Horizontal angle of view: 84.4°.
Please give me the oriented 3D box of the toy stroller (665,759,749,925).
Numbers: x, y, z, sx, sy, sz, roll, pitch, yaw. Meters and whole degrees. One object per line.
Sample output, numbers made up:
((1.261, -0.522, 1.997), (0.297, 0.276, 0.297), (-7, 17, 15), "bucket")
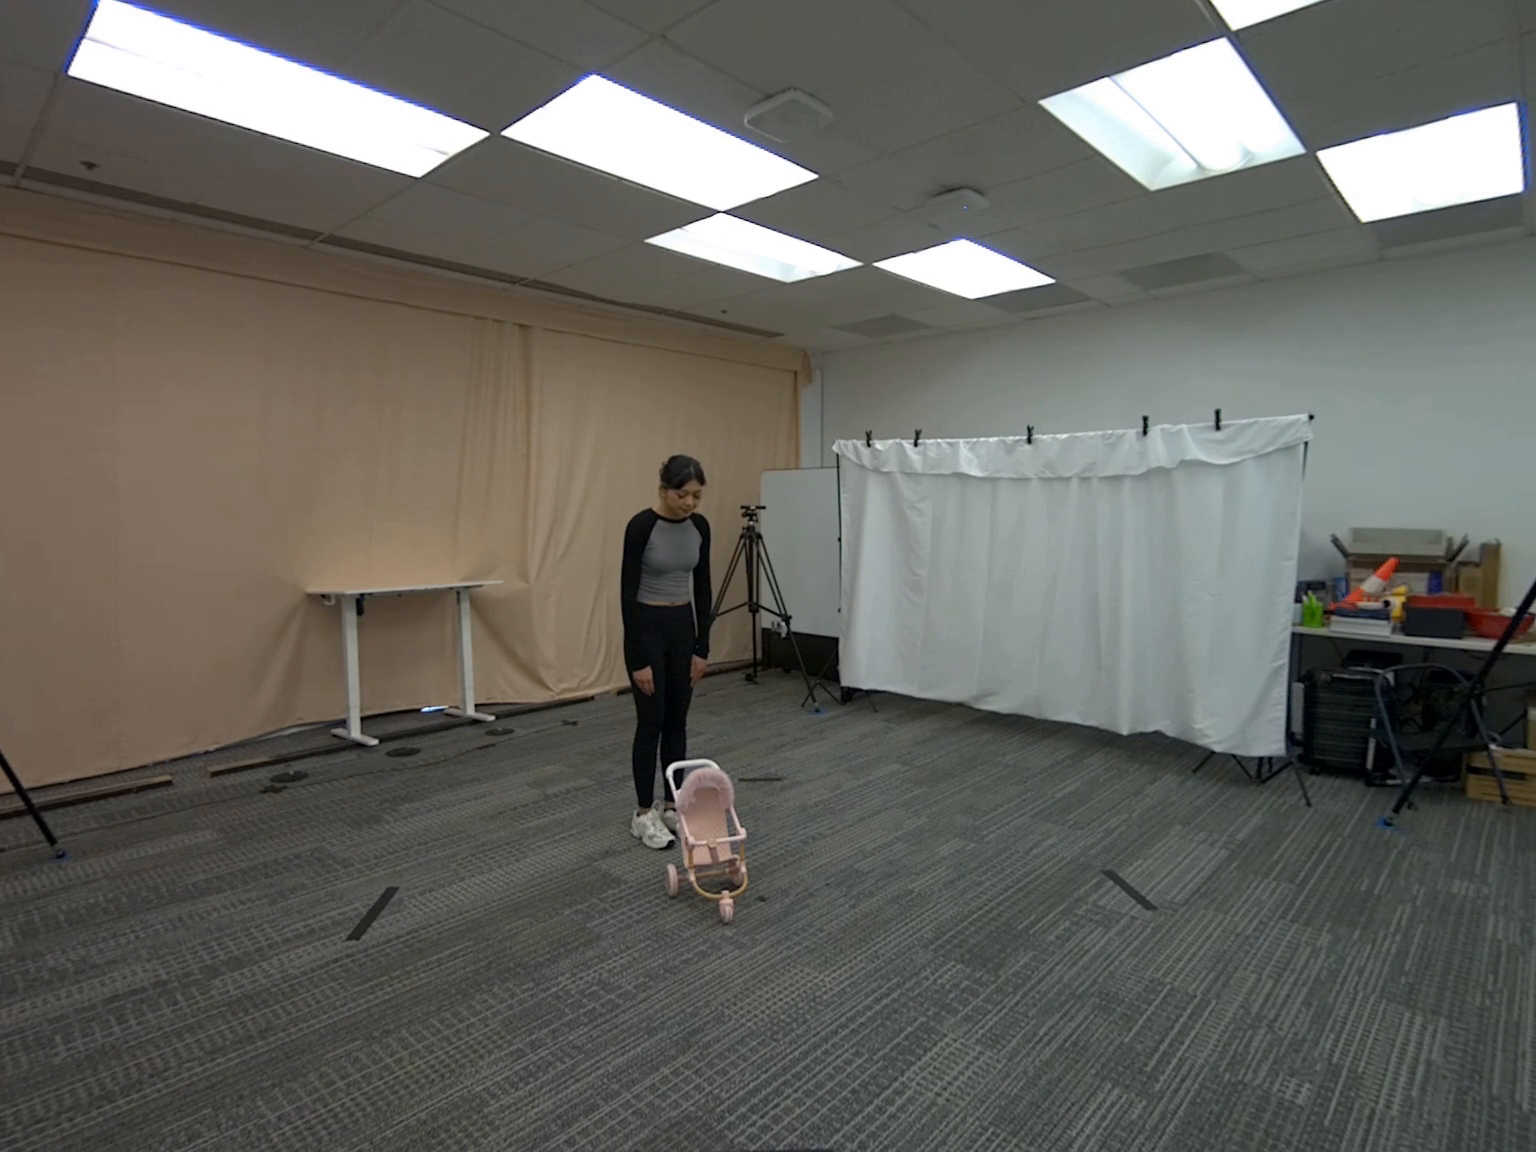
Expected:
((-0.209, 0.919, 2.979), (0.277, 0.540, 0.344), (-2, -13, -17), "toy stroller")
